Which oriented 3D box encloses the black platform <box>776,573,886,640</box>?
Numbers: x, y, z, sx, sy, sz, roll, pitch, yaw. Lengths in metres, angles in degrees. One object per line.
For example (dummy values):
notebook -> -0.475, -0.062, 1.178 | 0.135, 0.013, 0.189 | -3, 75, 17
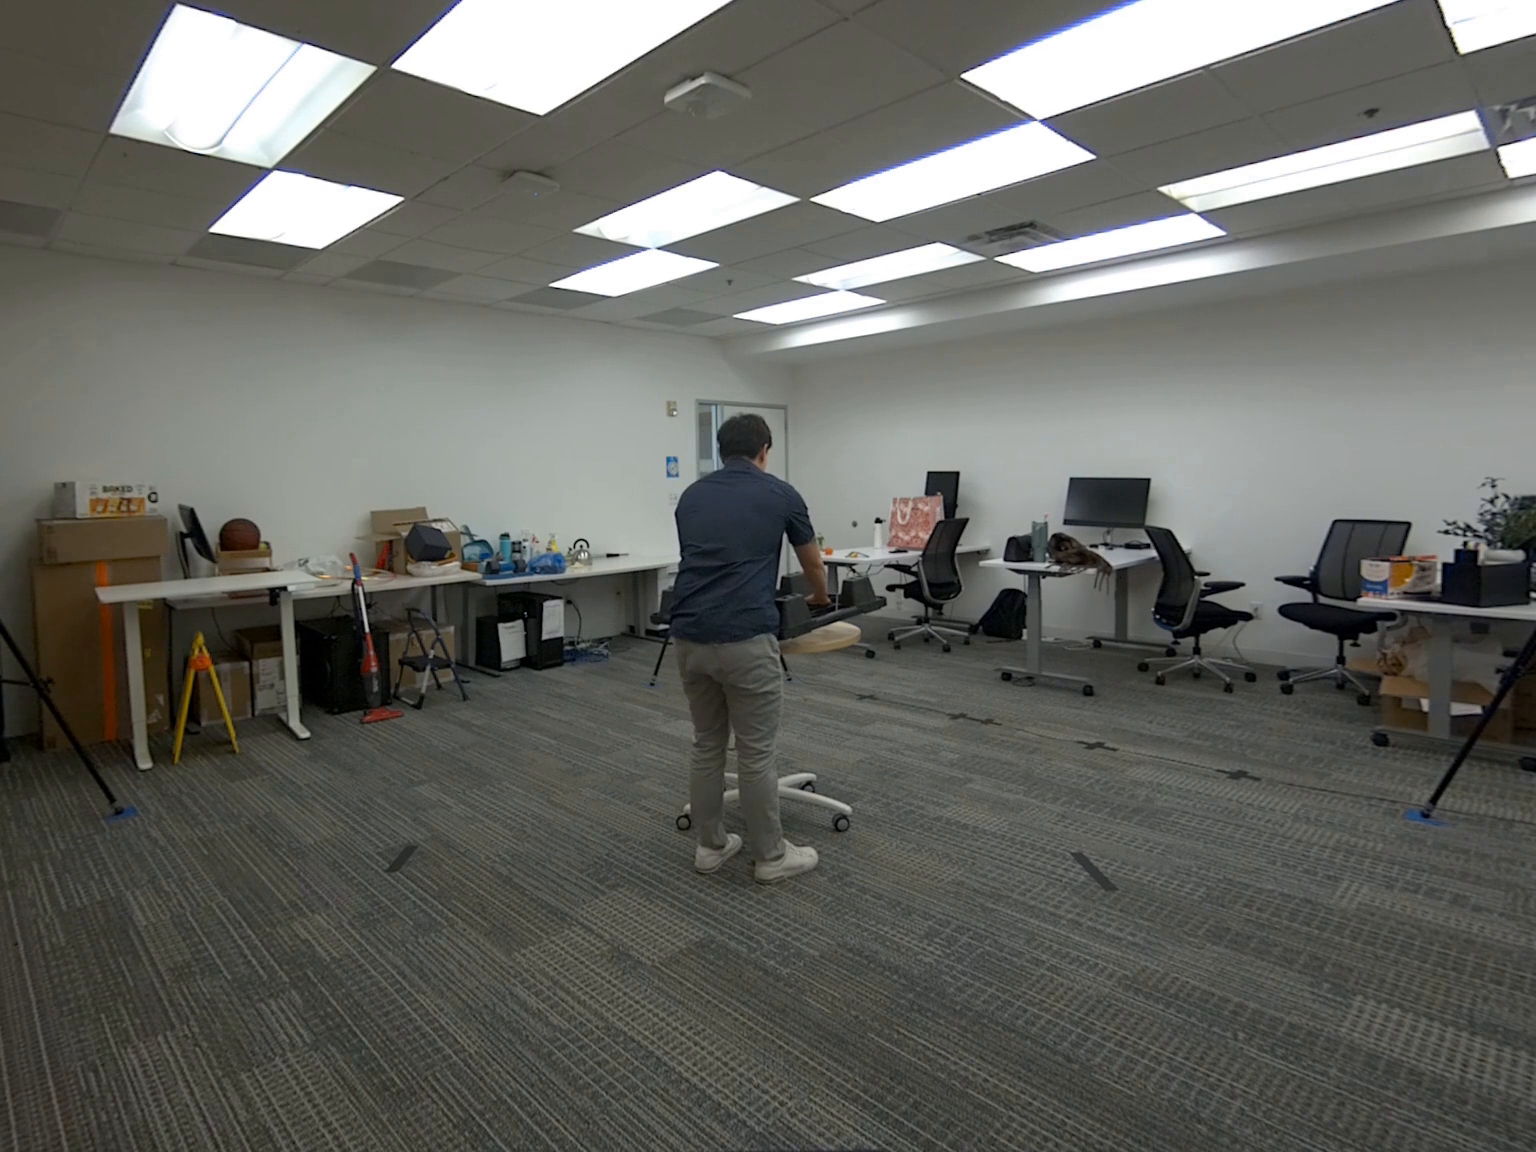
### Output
black platform -> -0.016, 0.099, 3.472 | 0.592, 0.142, 0.829 | -16, 13, -41
